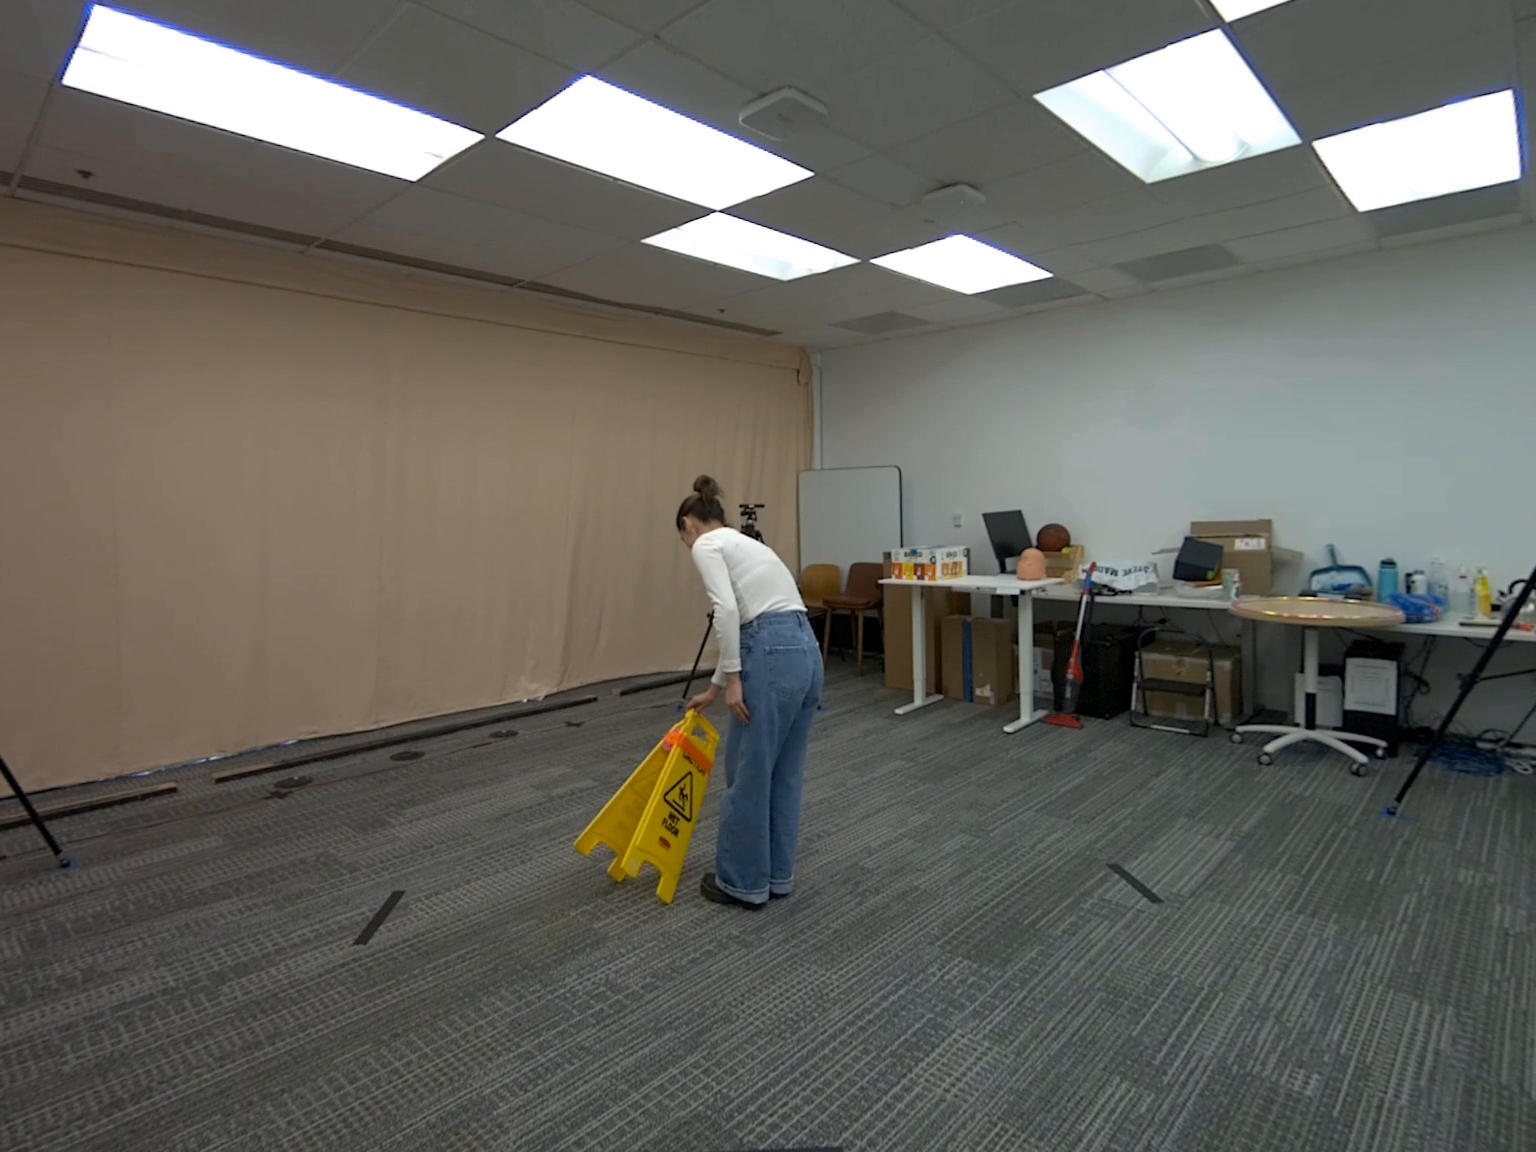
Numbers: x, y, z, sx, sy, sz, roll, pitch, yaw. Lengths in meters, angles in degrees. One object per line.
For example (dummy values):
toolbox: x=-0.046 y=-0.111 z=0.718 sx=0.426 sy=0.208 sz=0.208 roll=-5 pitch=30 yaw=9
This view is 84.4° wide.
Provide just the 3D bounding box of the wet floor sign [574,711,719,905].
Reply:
wet floor sign: x=-0.375 y=0.815 z=3.120 sx=0.299 sy=0.646 sz=0.273 roll=2 pitch=-39 yaw=42
